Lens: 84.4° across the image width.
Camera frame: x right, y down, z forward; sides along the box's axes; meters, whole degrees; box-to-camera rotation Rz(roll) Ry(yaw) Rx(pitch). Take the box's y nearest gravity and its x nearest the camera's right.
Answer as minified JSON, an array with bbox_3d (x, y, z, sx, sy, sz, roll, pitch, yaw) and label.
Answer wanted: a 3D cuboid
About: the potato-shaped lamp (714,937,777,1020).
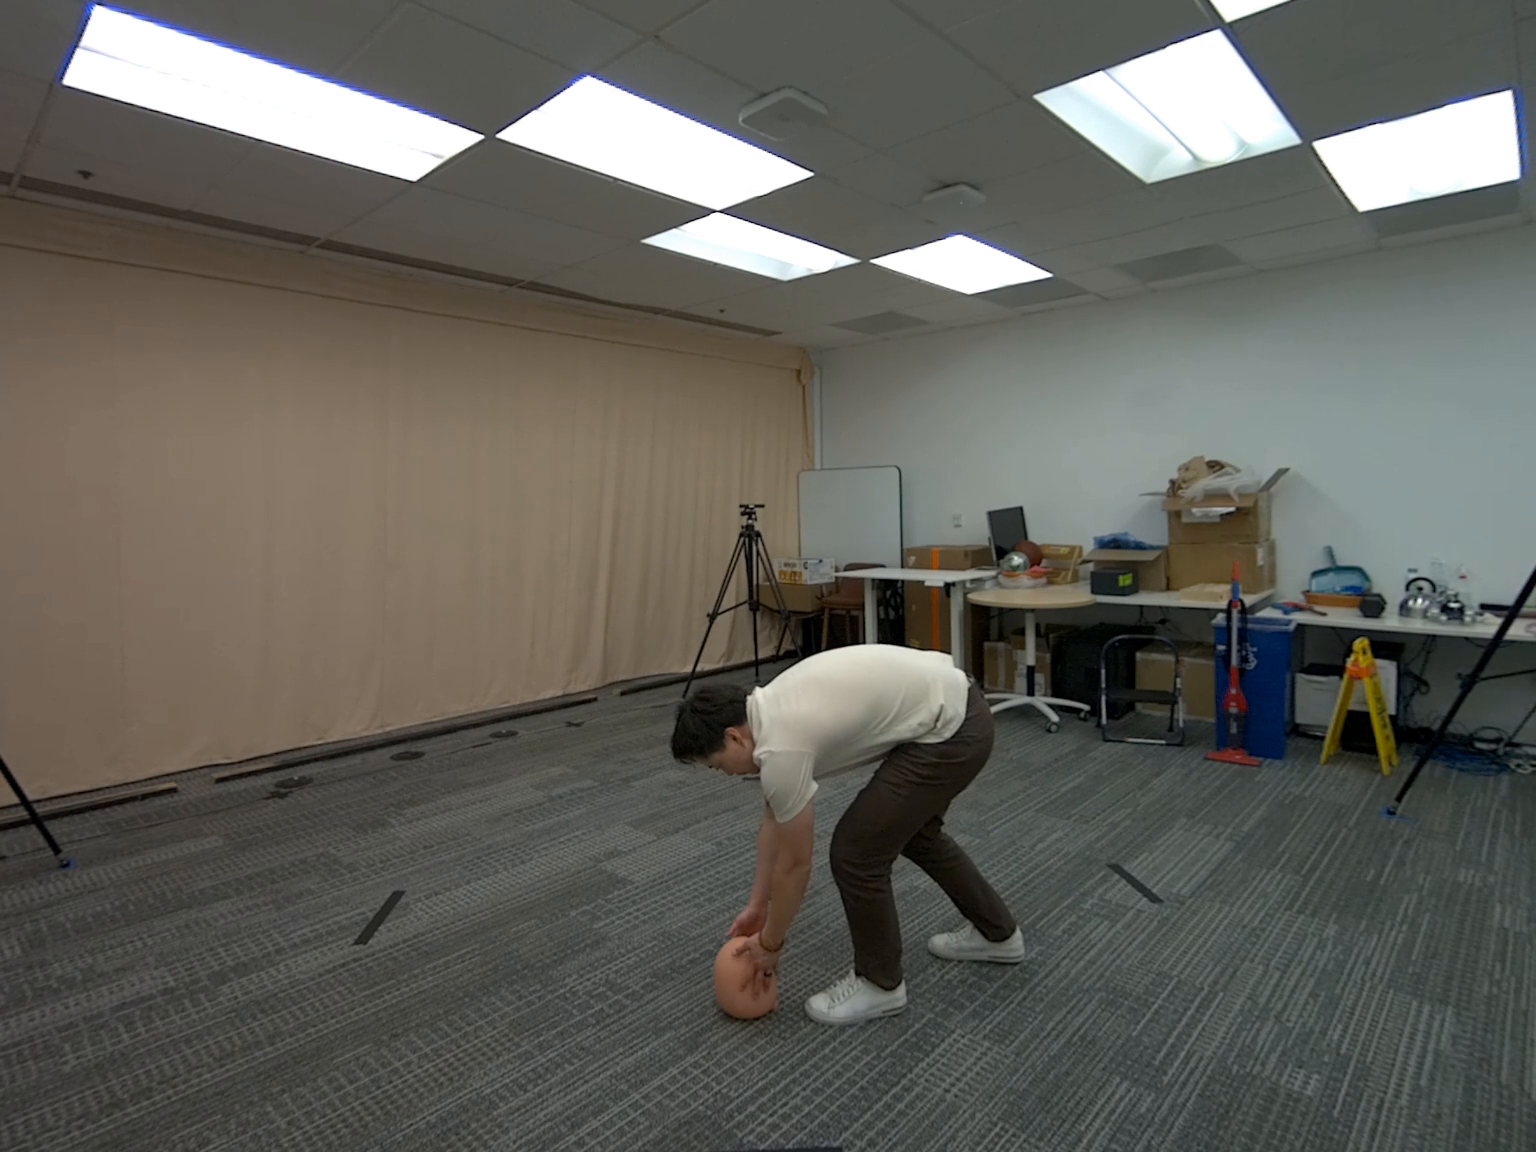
[{"bbox_3d":[-0.063,1.094,2.320,0.167,0.198,0.169,-7,2,-30],"label":"potato-shaped lamp"}]
